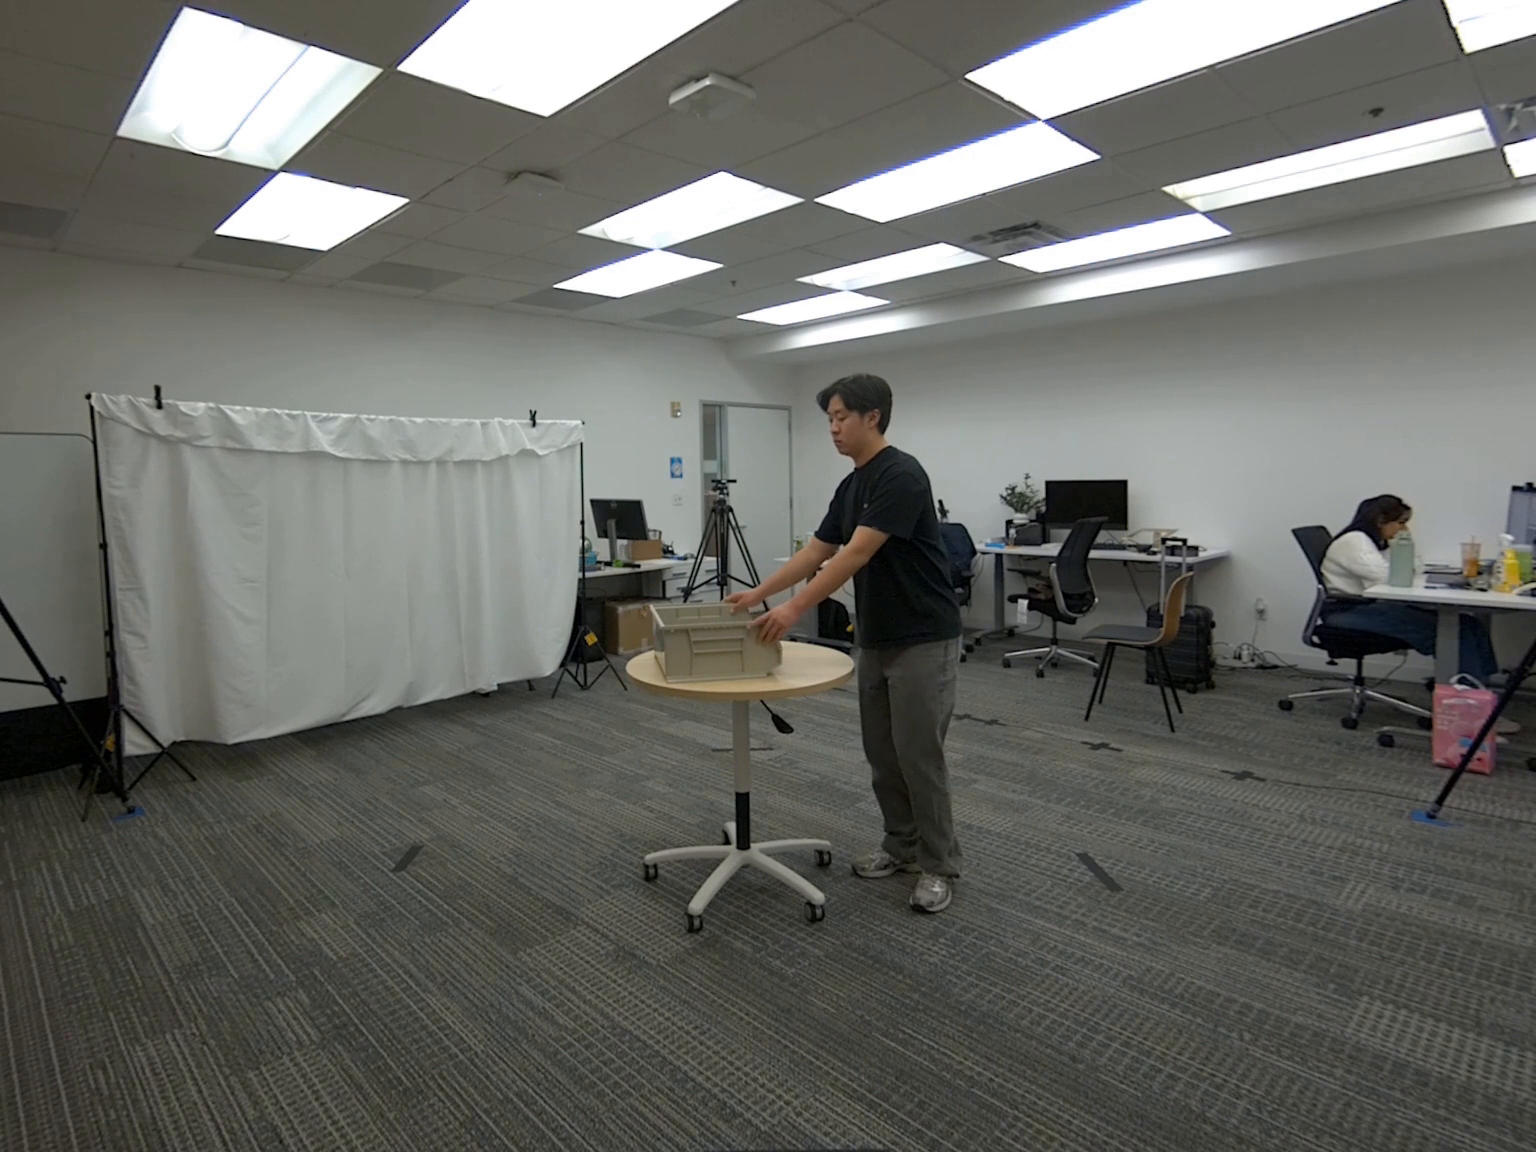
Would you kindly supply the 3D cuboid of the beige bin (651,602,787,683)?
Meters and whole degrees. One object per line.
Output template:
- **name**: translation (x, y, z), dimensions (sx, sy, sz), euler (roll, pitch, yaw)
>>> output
- **beige bin**: translation (-0.183, 0.211, 2.831), dimensions (0.373, 0.188, 0.429), euler (-3, 7, -12)
